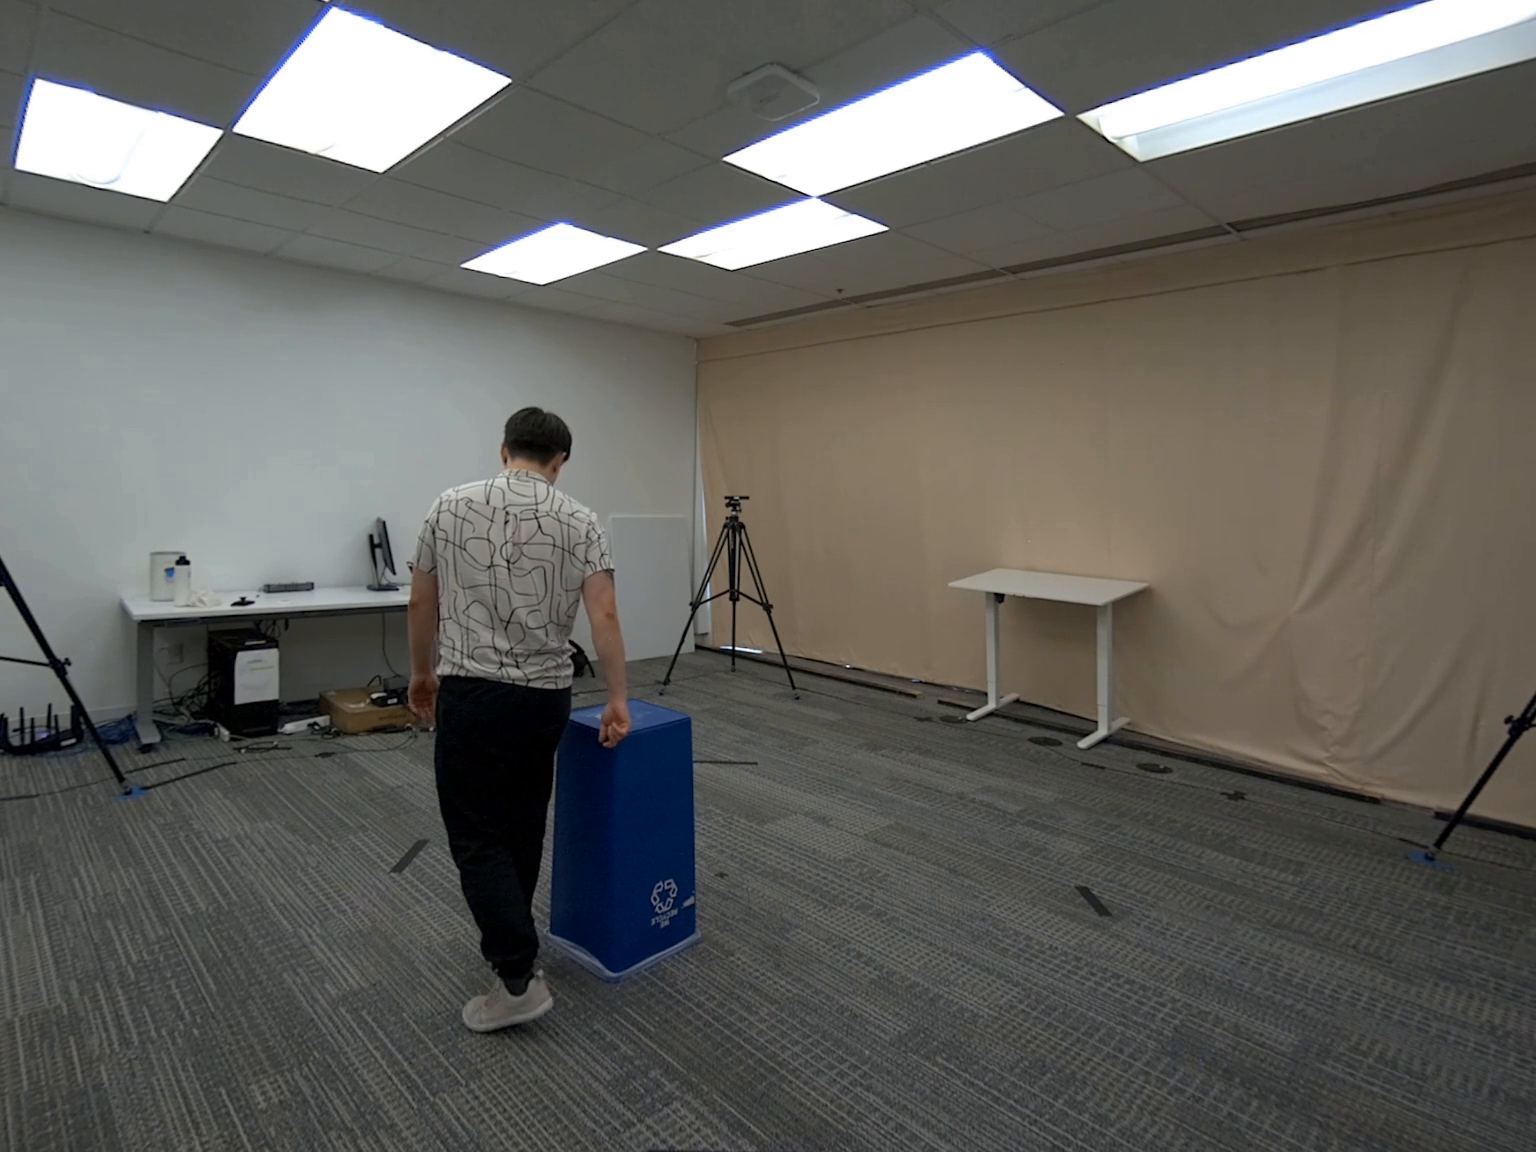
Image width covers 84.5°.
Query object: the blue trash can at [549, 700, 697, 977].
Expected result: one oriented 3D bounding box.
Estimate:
[{"bbox_3d":[-0.461,0.788,2.620,0.387,0.712,0.365,3,4,44],"label":"blue trash can"}]
